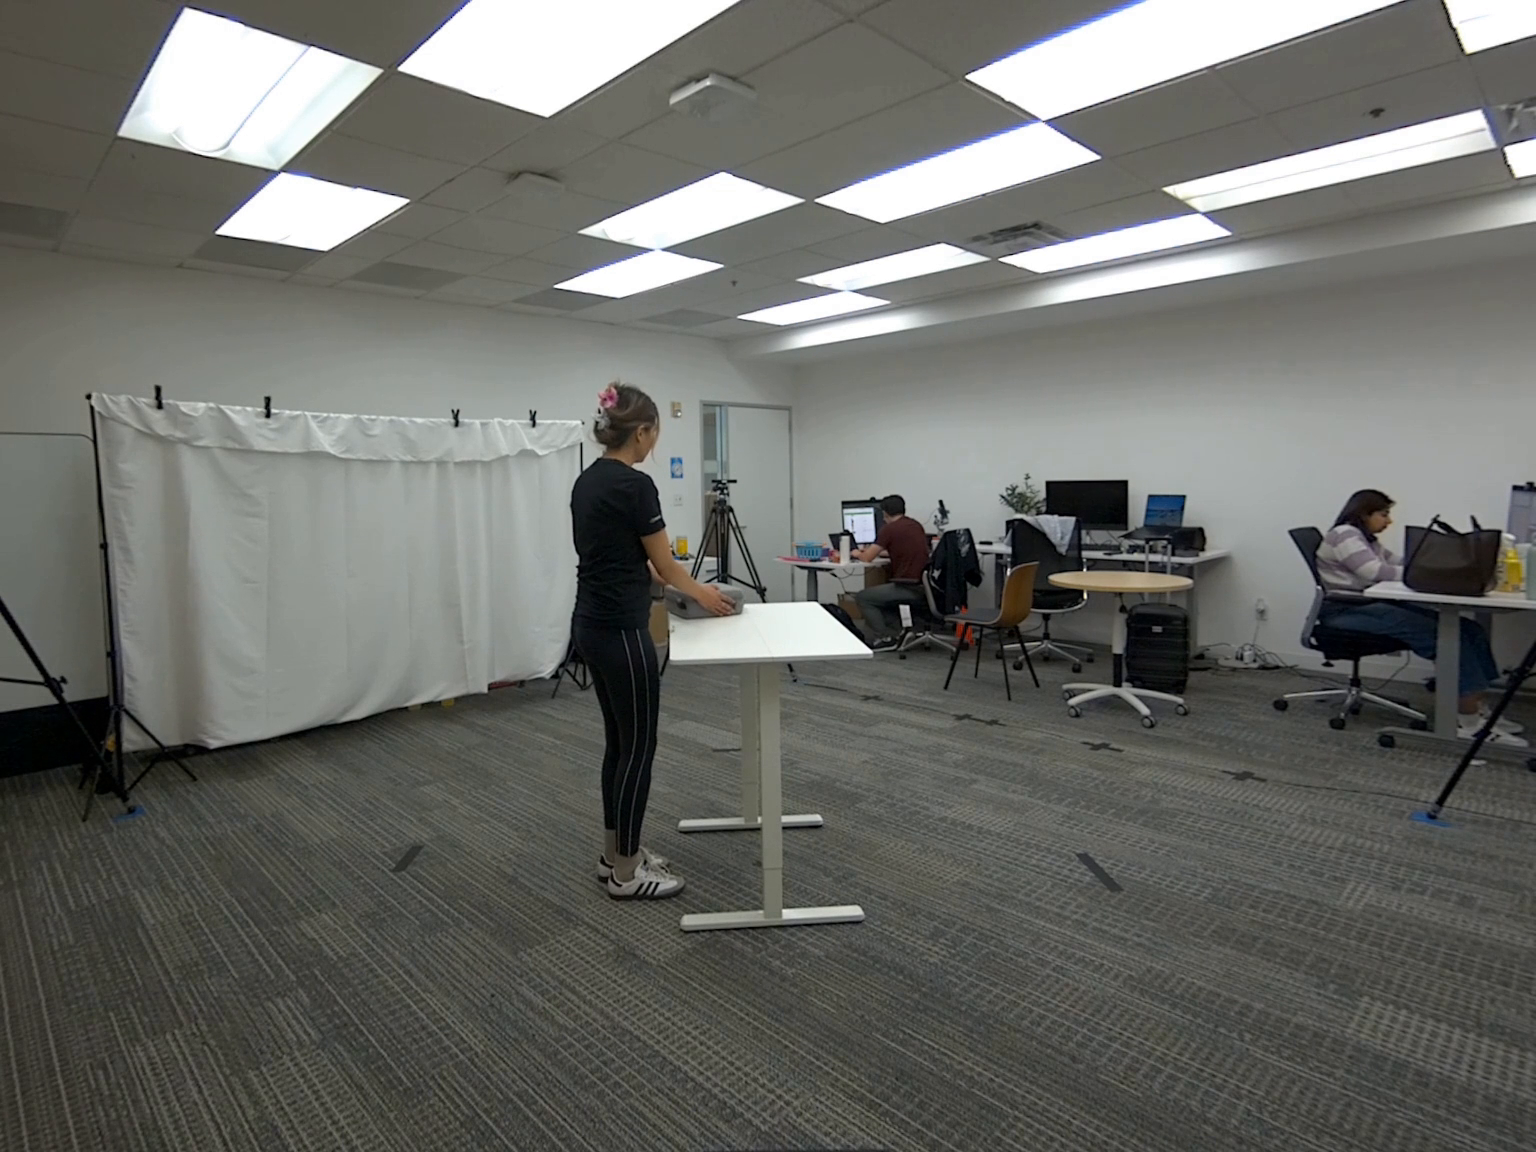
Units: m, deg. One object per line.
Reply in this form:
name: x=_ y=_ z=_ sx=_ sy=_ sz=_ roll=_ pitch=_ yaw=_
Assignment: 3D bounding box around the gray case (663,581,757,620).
gray case: x=-0.246 y=0.094 z=3.319 sx=0.256 sy=0.104 sz=0.263 roll=-3 pitch=6 yaw=-22
